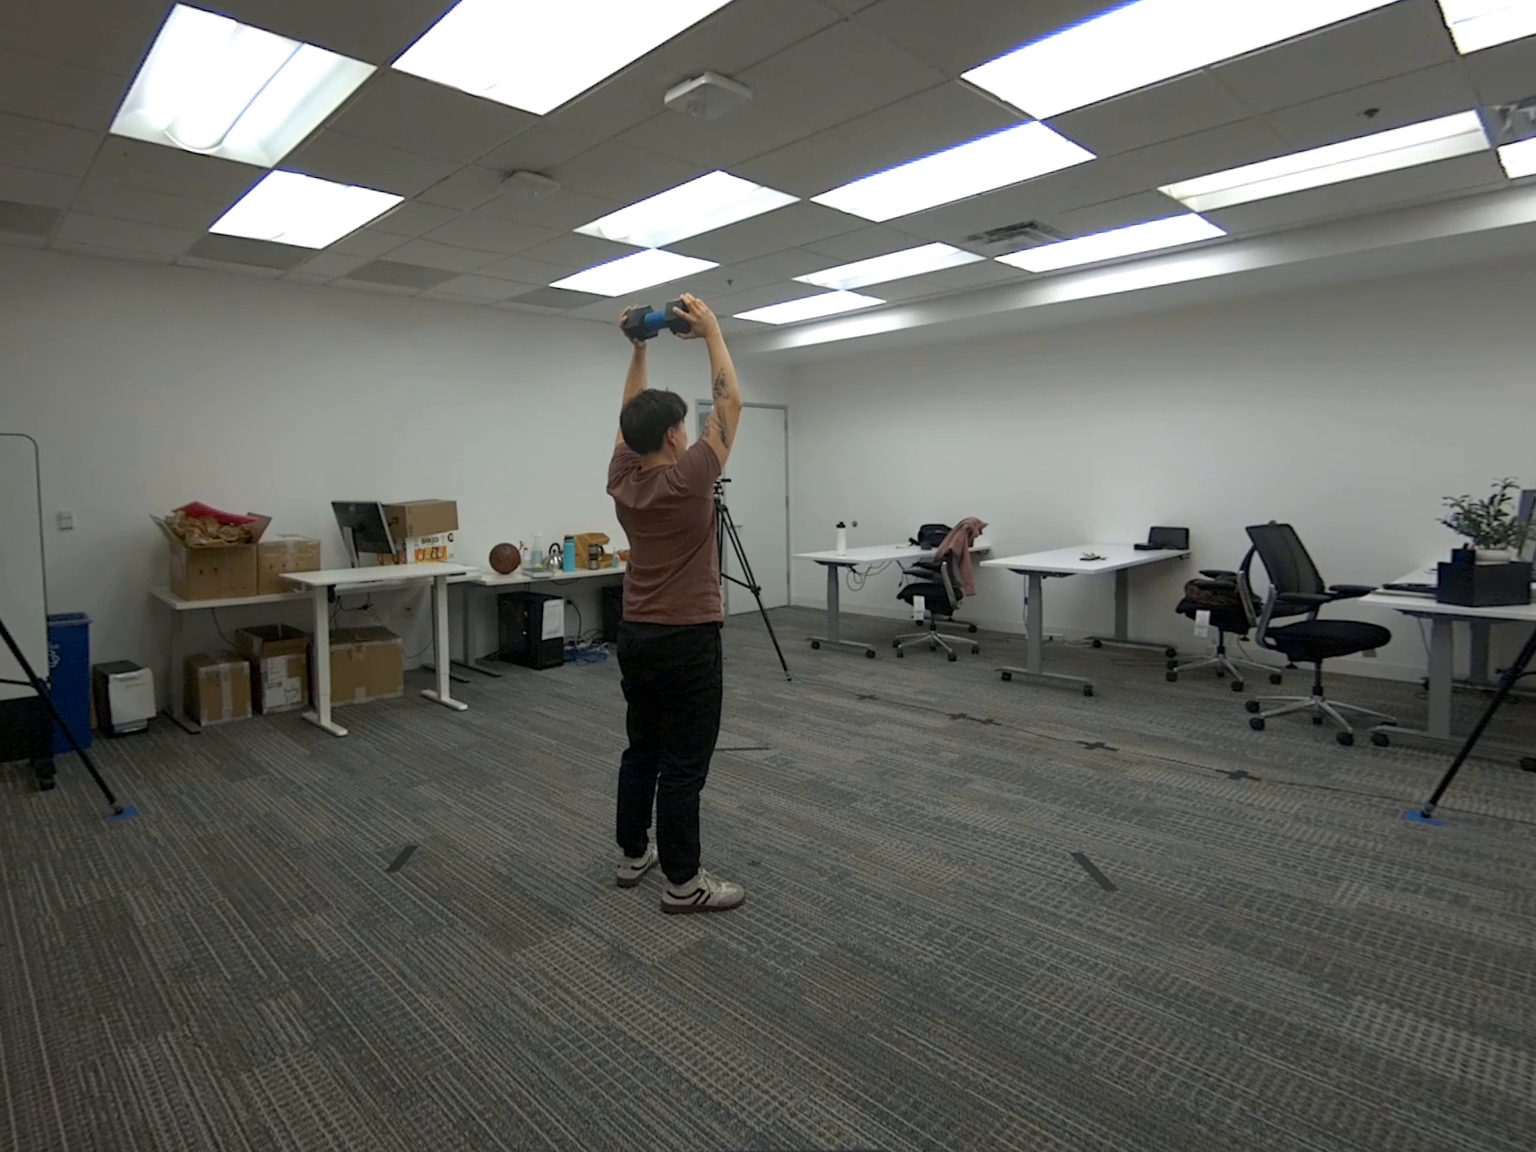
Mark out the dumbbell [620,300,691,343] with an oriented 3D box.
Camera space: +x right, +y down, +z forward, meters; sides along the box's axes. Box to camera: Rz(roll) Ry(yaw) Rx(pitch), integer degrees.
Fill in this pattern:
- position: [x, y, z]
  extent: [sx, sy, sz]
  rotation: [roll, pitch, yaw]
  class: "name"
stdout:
- position: [-0.352, -0.846, 2.837]
  extent: [0.303, 0.109, 0.118]
  rotation: [7, -32, 45]
  class: "dumbbell"
